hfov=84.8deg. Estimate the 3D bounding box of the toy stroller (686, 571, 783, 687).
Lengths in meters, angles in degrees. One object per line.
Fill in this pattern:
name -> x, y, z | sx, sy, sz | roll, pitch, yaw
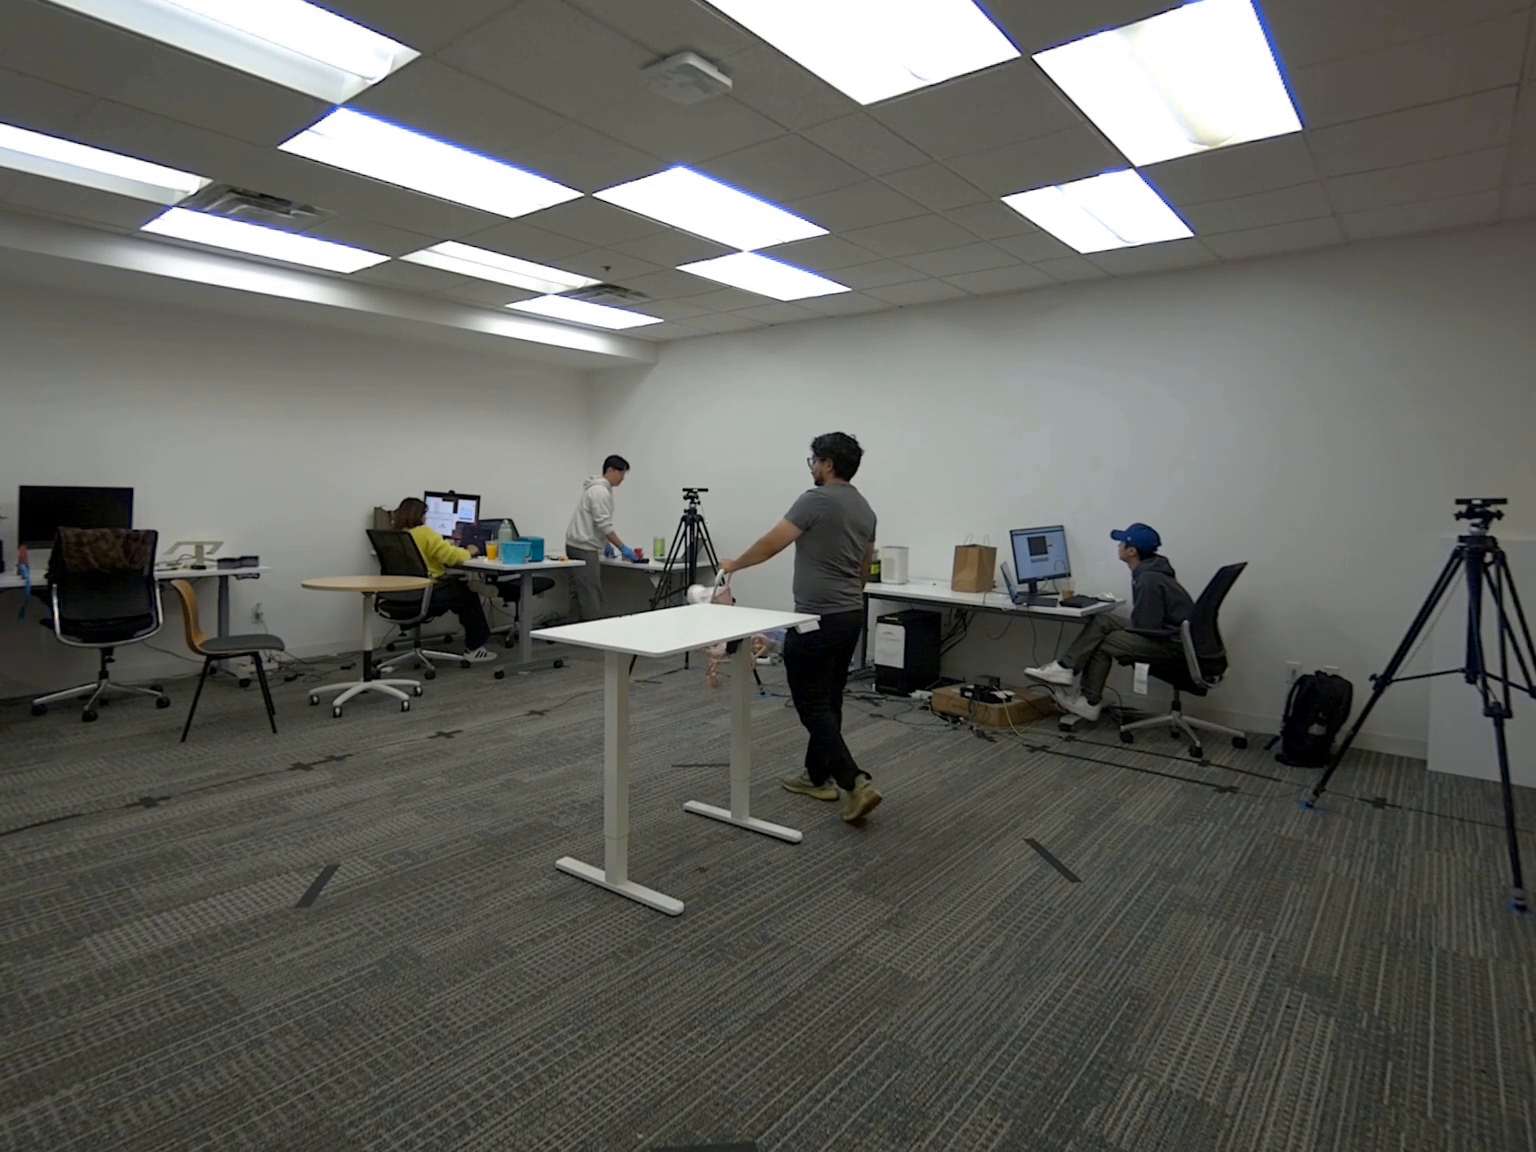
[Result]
toy stroller -> -0.238, 0.247, 4.011 | 0.346, 0.533, 0.278 | -21, 4, 25
